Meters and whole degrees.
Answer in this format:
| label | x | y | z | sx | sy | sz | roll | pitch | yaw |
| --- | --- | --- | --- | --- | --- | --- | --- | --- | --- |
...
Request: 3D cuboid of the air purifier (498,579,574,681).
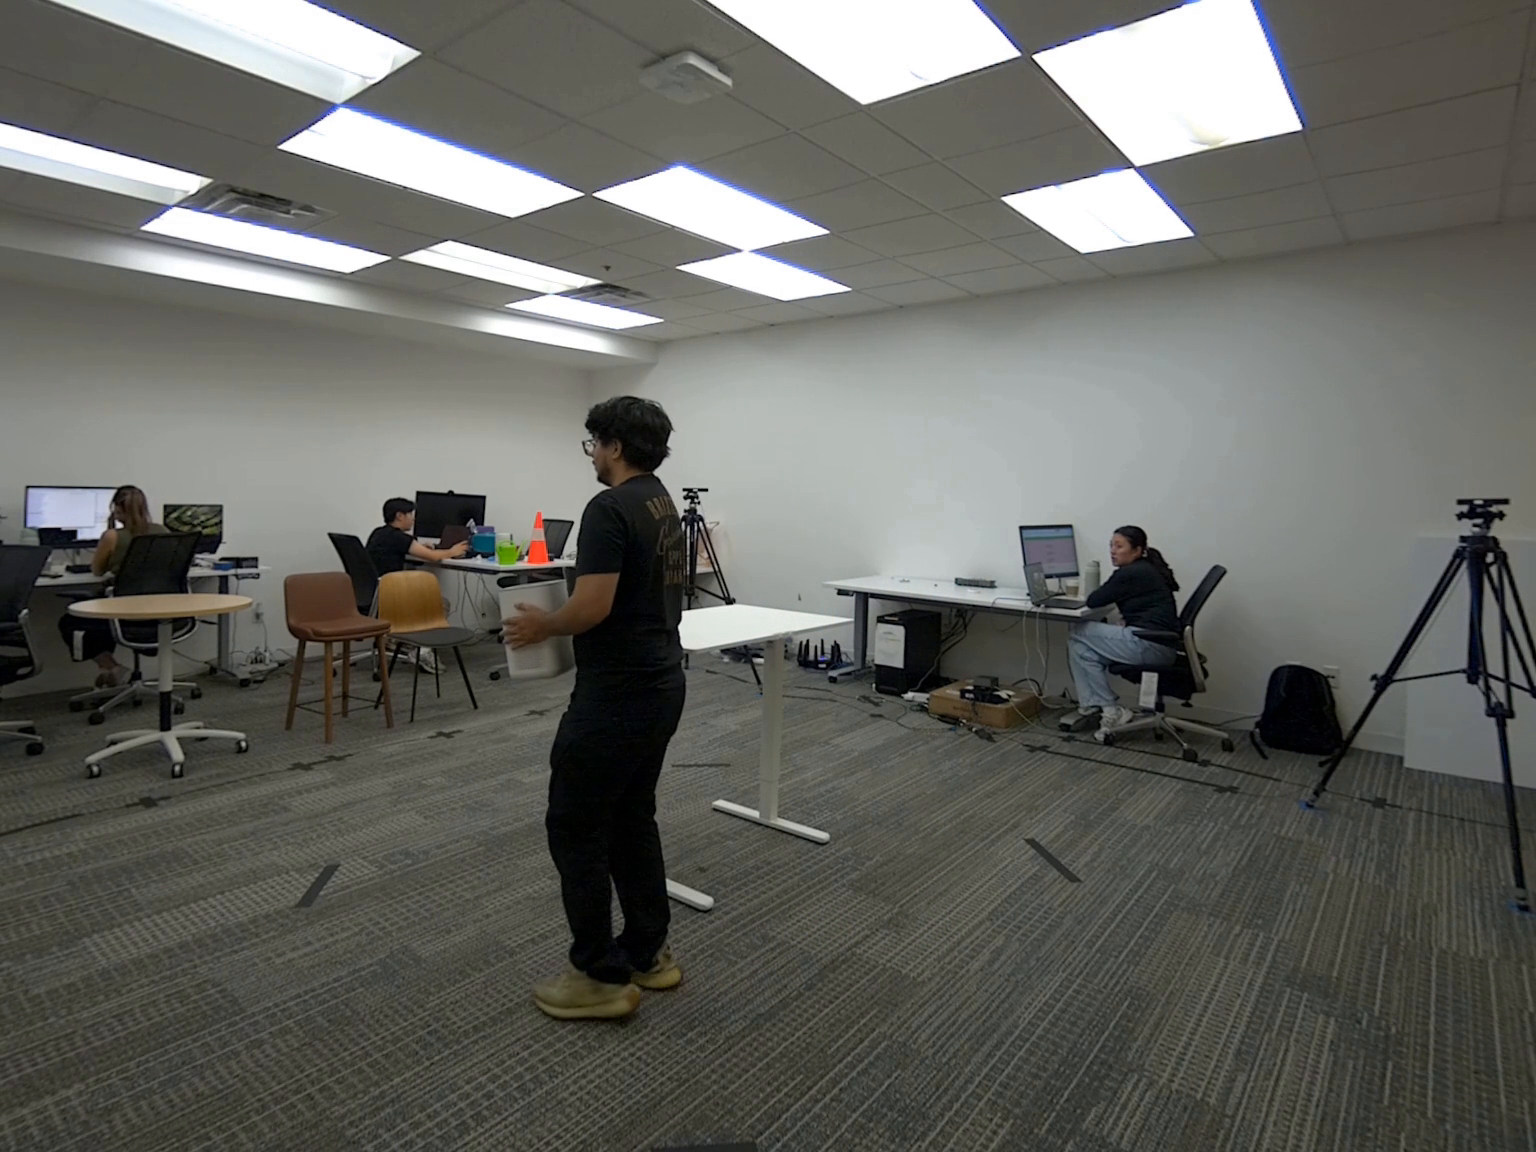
| label | x | y | z | sx | sy | sz | roll | pitch | yaw |
| --- | --- | --- | --- | --- | --- | --- | --- | --- | --- |
| air purifier | -0.667 | 0.156 | 2.445 | 0.172 | 0.265 | 0.171 | -8 | 3 | 5 |
